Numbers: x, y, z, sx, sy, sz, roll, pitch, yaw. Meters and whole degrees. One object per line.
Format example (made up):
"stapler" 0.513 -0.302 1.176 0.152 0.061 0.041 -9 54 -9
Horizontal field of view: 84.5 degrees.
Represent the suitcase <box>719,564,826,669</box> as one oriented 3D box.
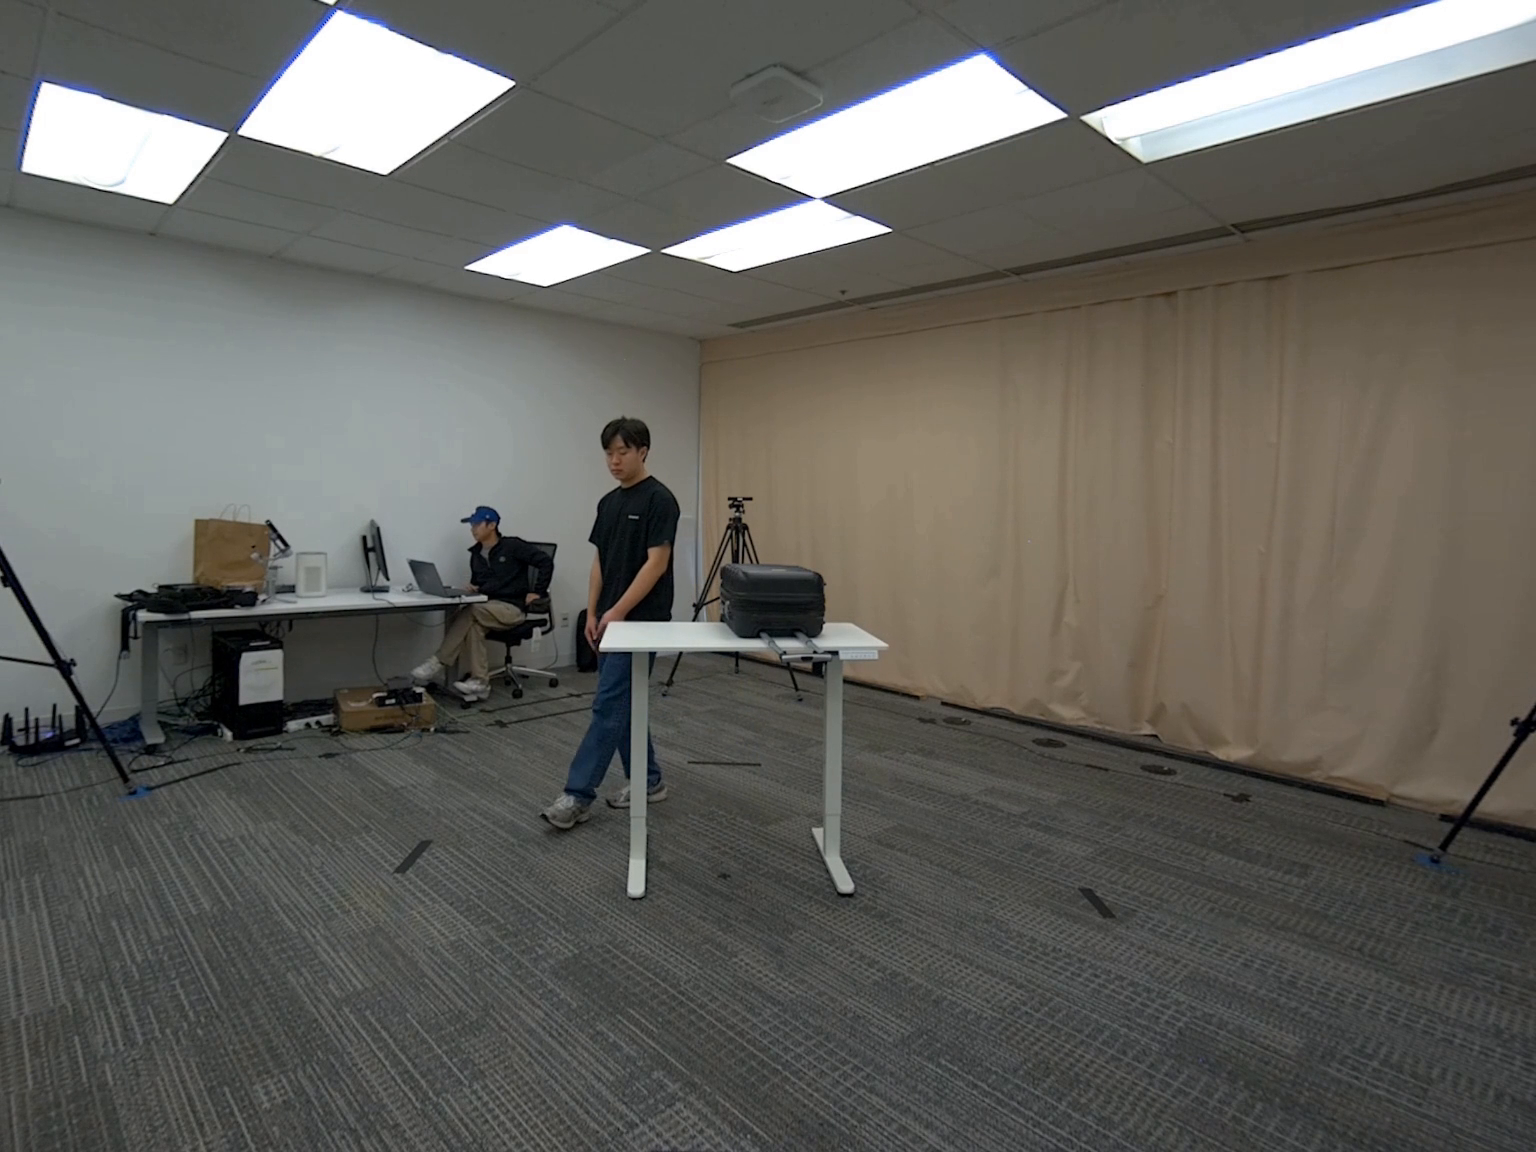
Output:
"suitcase" 0.032 0.105 3.094 0.382 0.257 0.985 1 3 -8
